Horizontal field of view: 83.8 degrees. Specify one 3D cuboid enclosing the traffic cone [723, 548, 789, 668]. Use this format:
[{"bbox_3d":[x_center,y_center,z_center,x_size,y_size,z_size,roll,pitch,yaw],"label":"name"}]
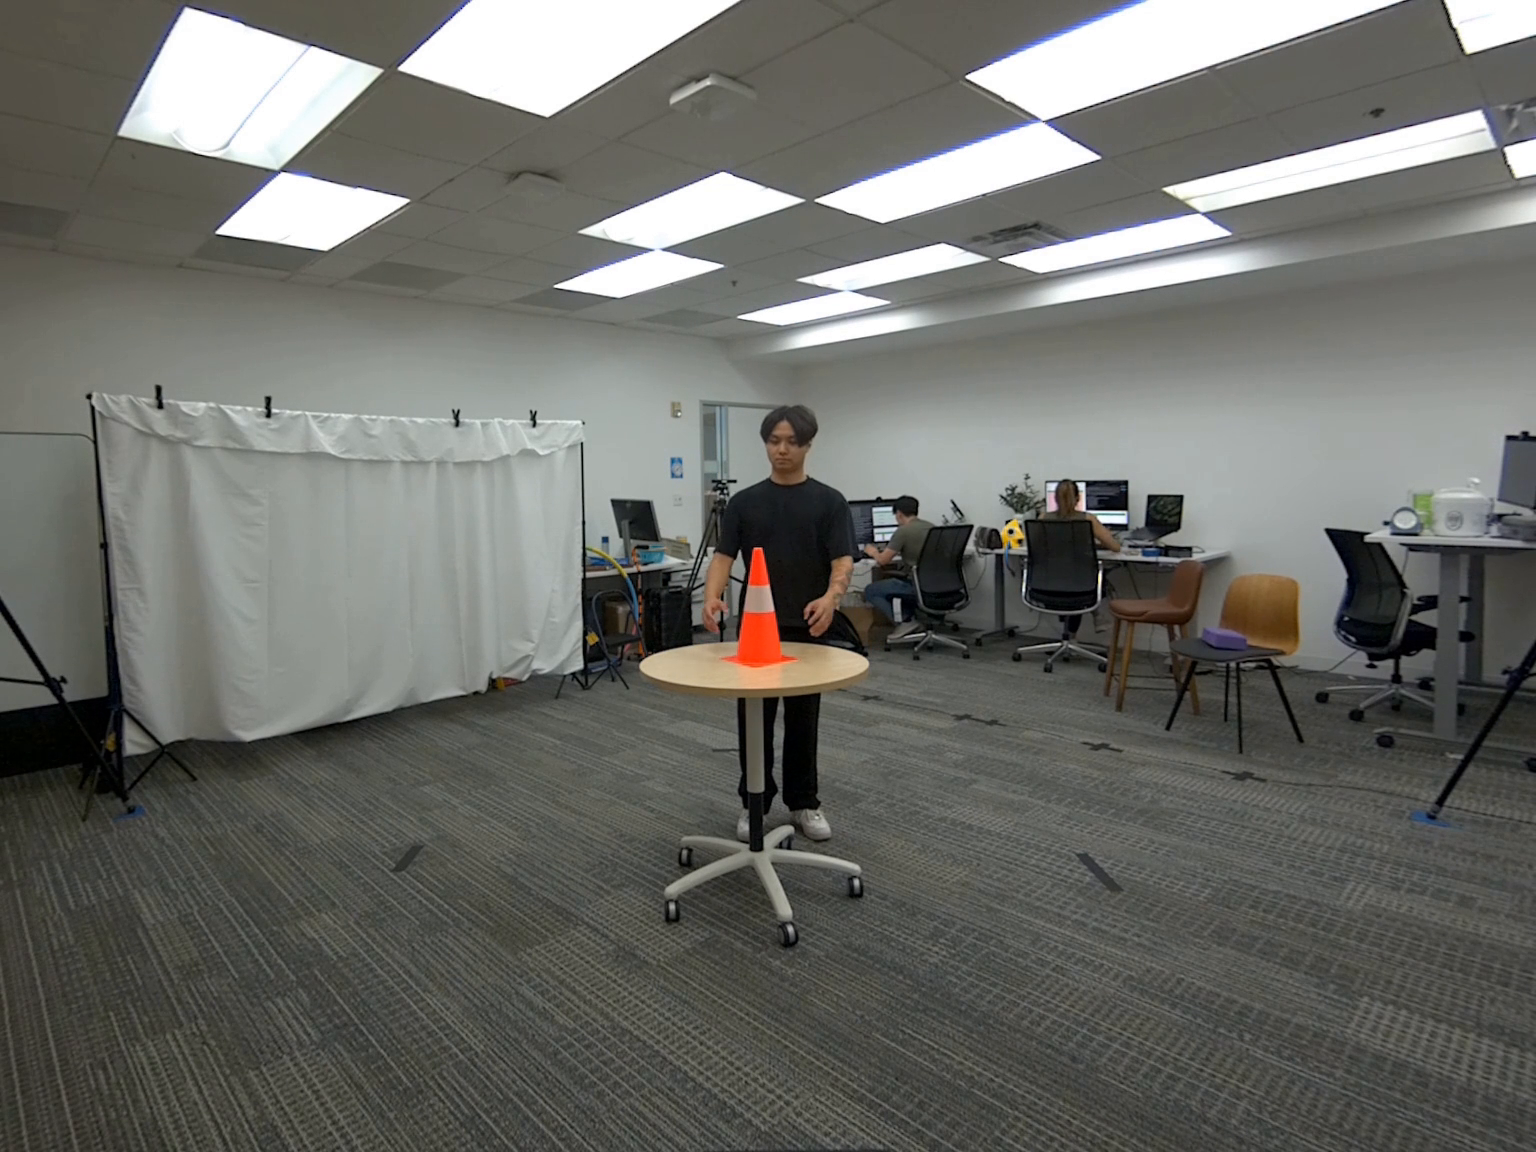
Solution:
[{"bbox_3d":[-0.034,0.102,2.904,0.209,0.382,0.199,2,5,45],"label":"traffic cone"}]
